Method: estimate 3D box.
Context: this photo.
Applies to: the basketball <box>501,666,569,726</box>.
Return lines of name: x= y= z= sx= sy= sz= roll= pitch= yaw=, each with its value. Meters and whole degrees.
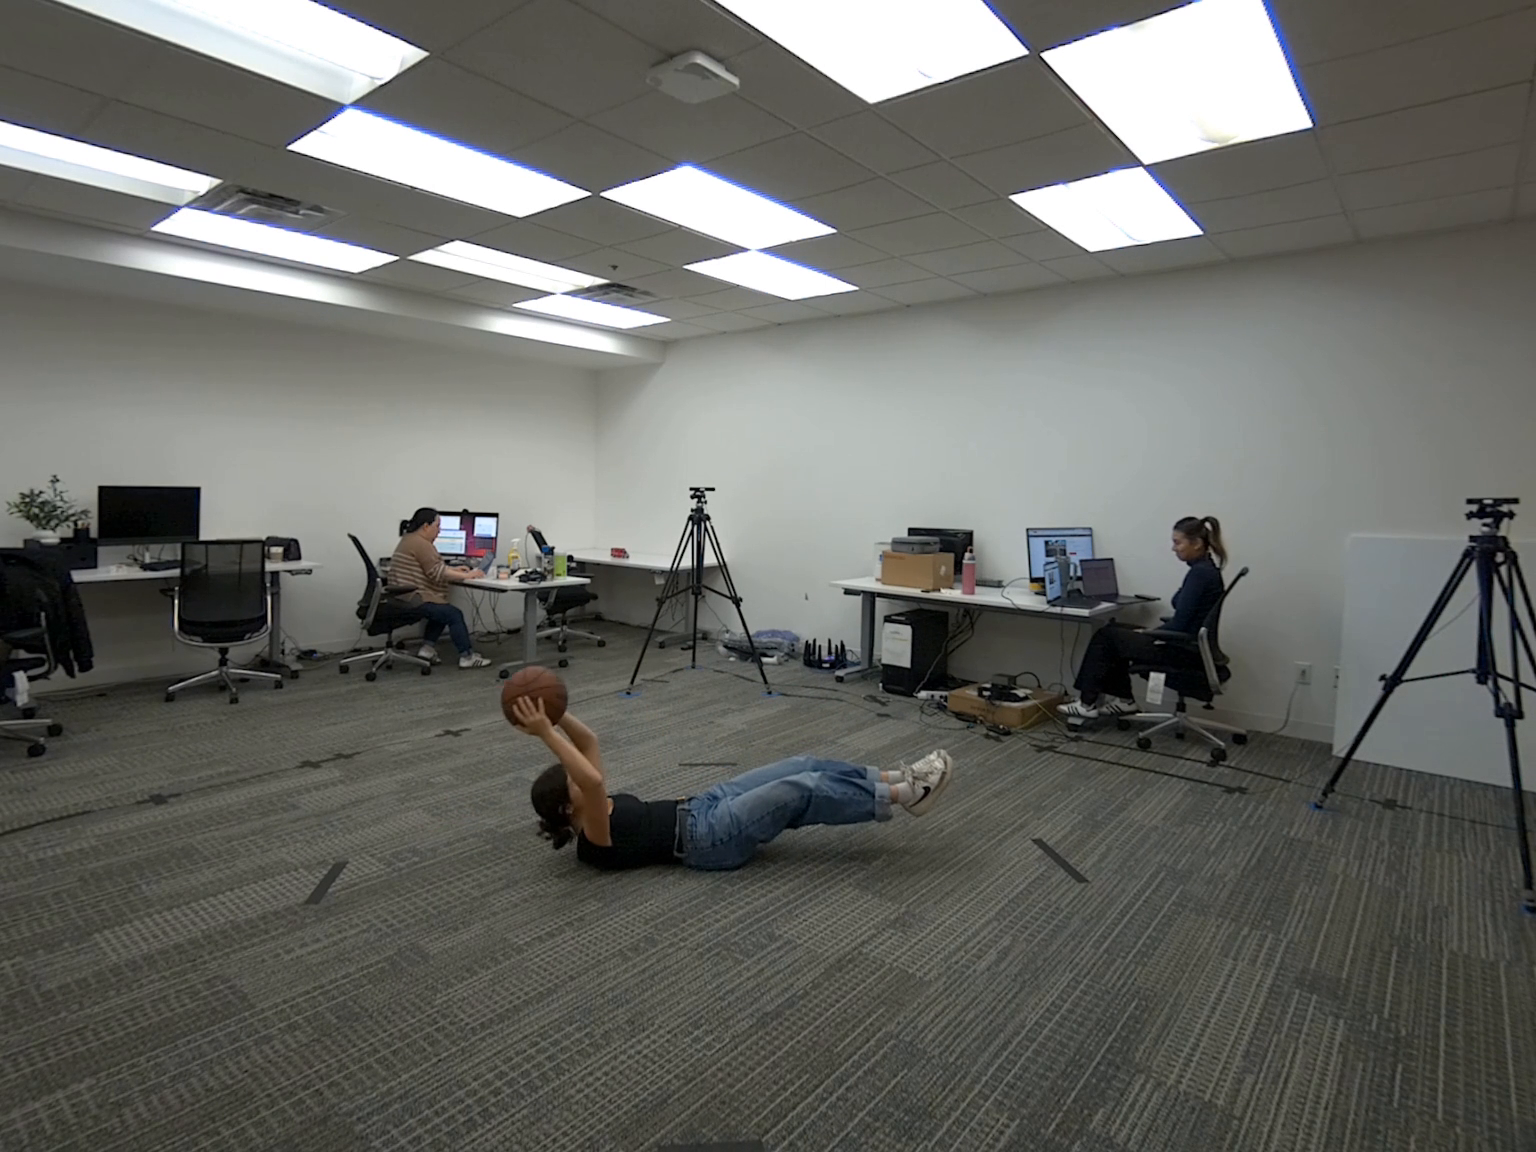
basketball: x=-0.855 y=0.452 z=3.088 sx=0.235 sy=0.235 sz=0.237 roll=1 pitch=4 yaw=-2
